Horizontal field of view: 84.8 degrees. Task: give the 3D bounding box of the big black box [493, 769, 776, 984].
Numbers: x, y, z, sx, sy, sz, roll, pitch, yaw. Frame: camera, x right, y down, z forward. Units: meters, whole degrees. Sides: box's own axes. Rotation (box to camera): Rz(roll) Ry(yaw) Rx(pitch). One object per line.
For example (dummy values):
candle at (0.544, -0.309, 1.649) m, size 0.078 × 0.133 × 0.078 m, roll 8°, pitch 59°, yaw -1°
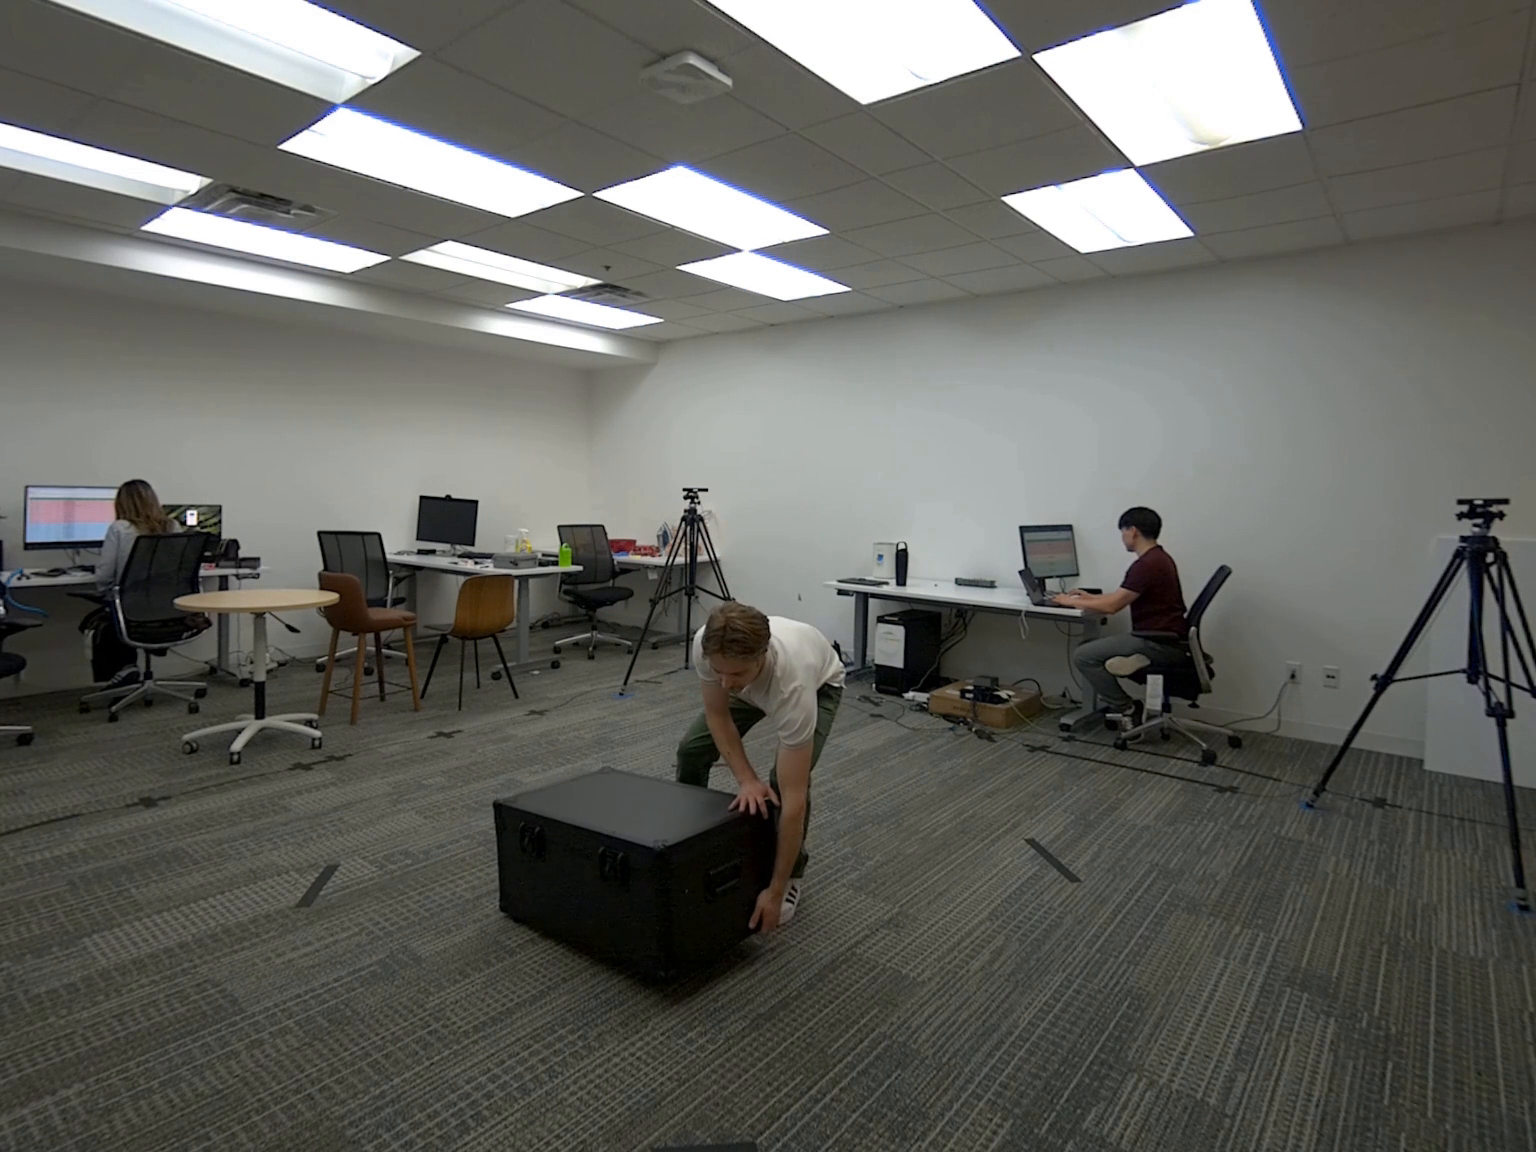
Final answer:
big black box at (-0.462, 0.892, 2.677) m, size 0.888 × 0.396 × 0.506 m, roll 0°, pitch 2°, yaw 41°
